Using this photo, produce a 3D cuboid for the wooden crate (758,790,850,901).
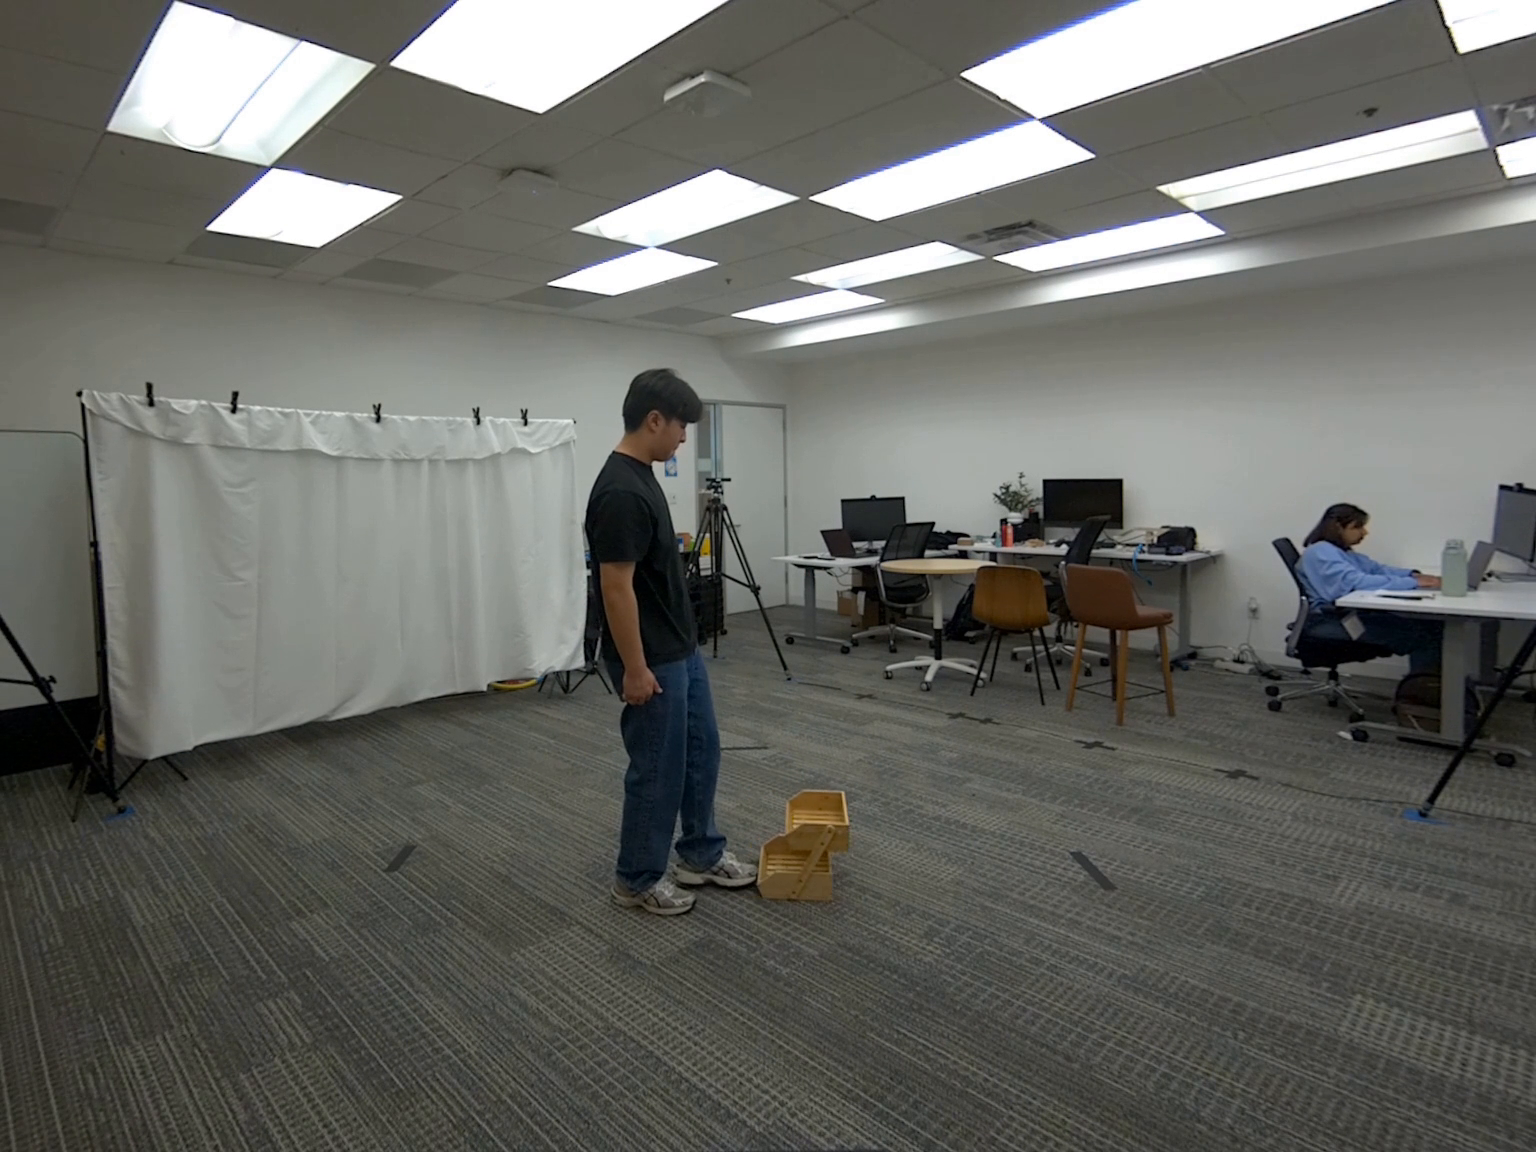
[{"bbox_3d":[0.116,0.920,2.964,0.303,0.272,0.324,0,5,4],"label":"wooden crate"}]
